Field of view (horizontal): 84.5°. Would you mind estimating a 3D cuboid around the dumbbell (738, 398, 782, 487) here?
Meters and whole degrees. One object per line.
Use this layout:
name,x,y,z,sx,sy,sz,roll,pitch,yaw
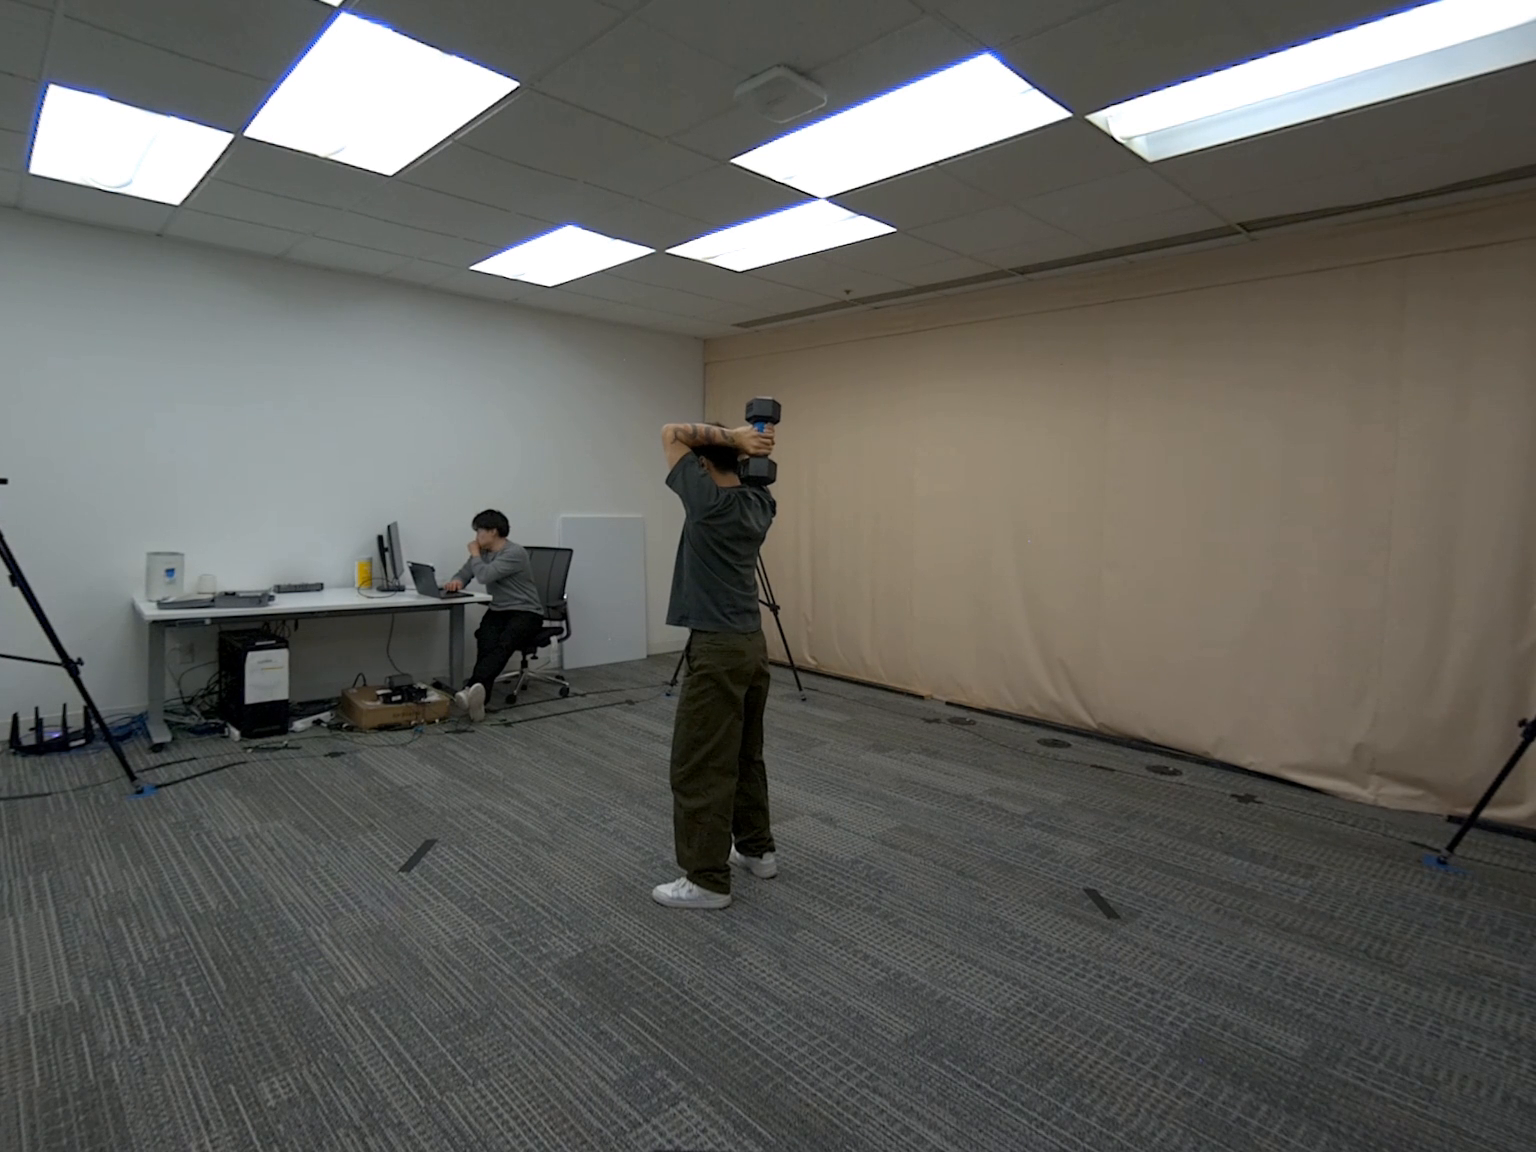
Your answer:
dumbbell,-0.037,-0.469,2.872,0.106,0.296,0.124,12,-13,-25
